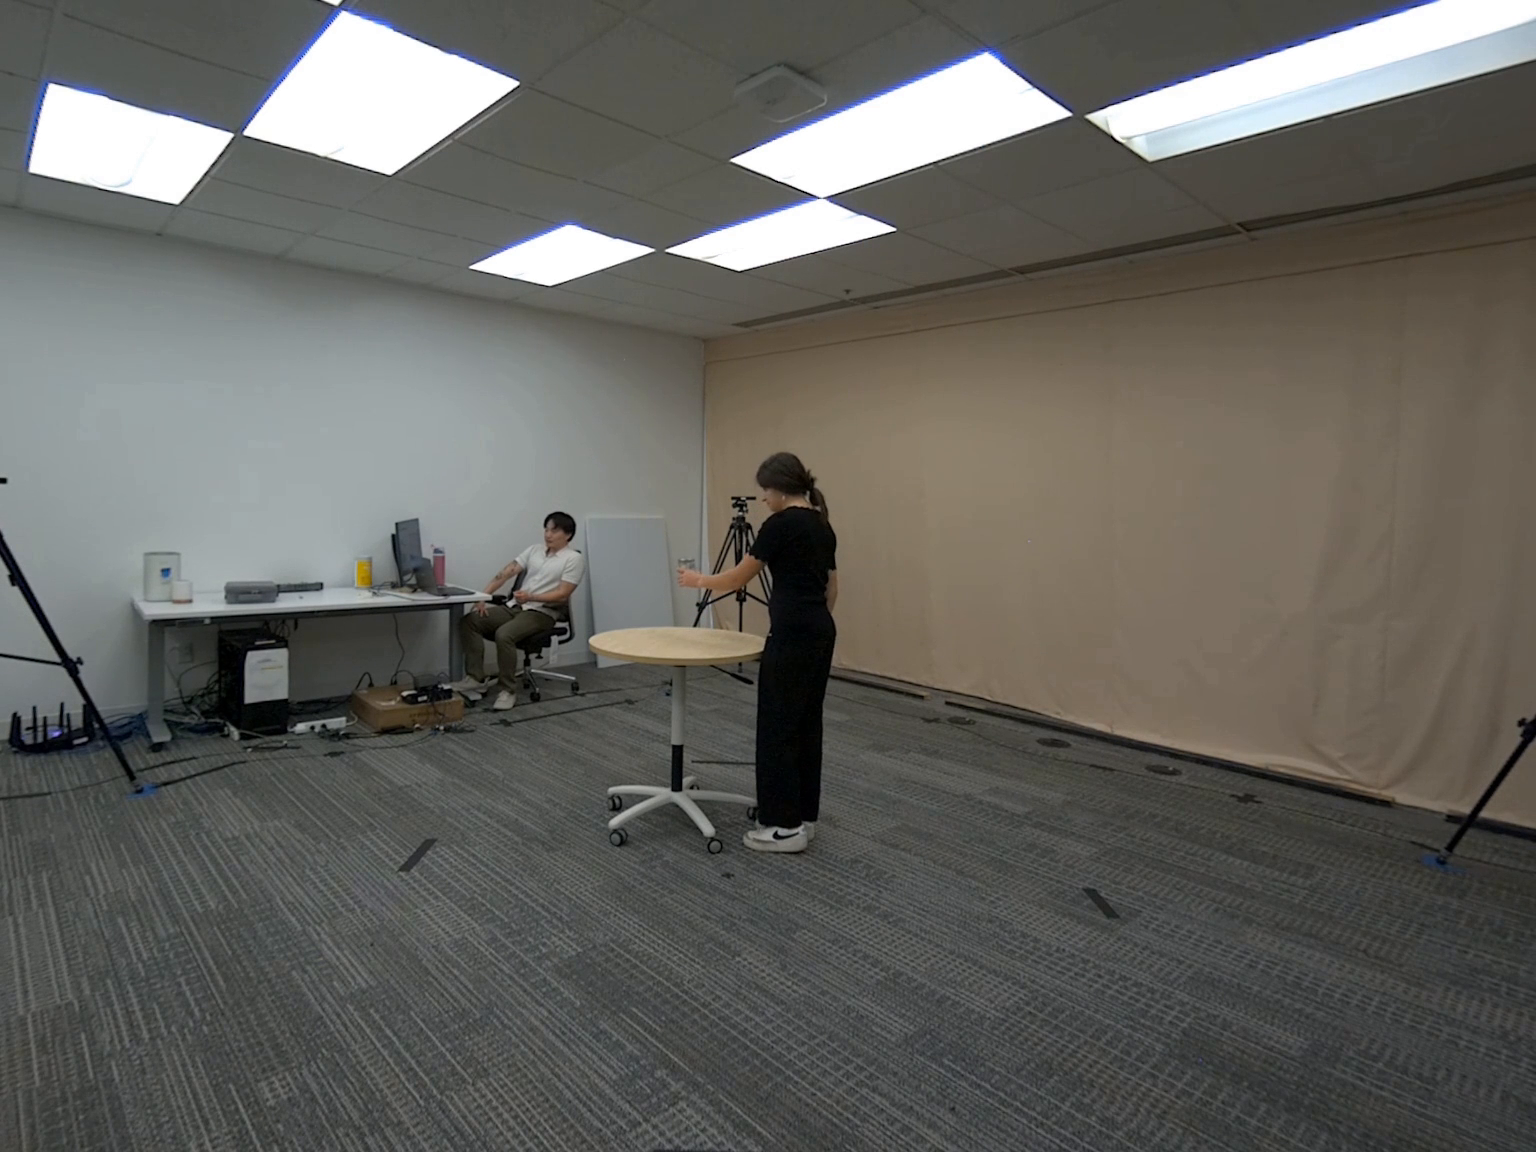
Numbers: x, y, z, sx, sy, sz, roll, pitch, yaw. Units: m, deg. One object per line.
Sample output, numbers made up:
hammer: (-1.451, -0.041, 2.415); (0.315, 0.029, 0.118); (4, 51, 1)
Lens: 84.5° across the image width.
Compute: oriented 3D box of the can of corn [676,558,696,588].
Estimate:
can of corn: (-0.355, -0.017, 3.660); (0.074, 0.110, 0.075); (-3, 8, -1)
